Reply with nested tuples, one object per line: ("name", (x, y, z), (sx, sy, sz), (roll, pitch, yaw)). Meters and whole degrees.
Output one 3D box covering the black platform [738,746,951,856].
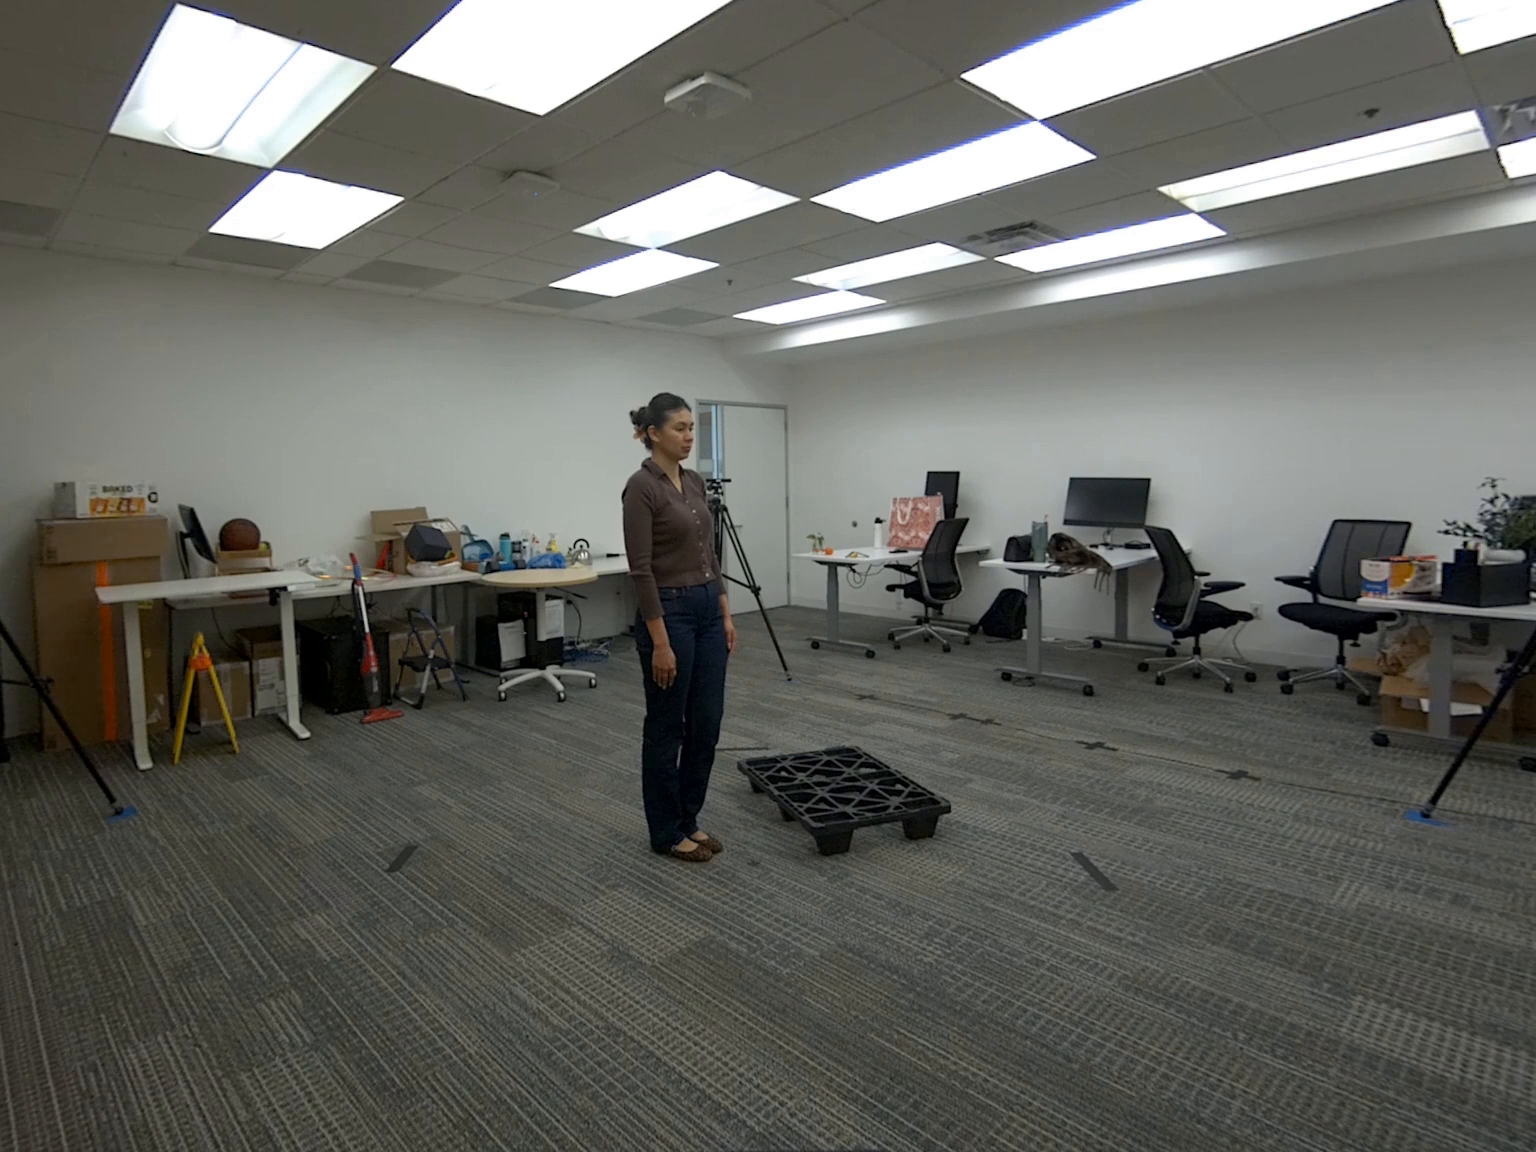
("black platform", (0.287, 0.917, 3.574), (0.594, 0.143, 0.824), (-2, 6, -21))
